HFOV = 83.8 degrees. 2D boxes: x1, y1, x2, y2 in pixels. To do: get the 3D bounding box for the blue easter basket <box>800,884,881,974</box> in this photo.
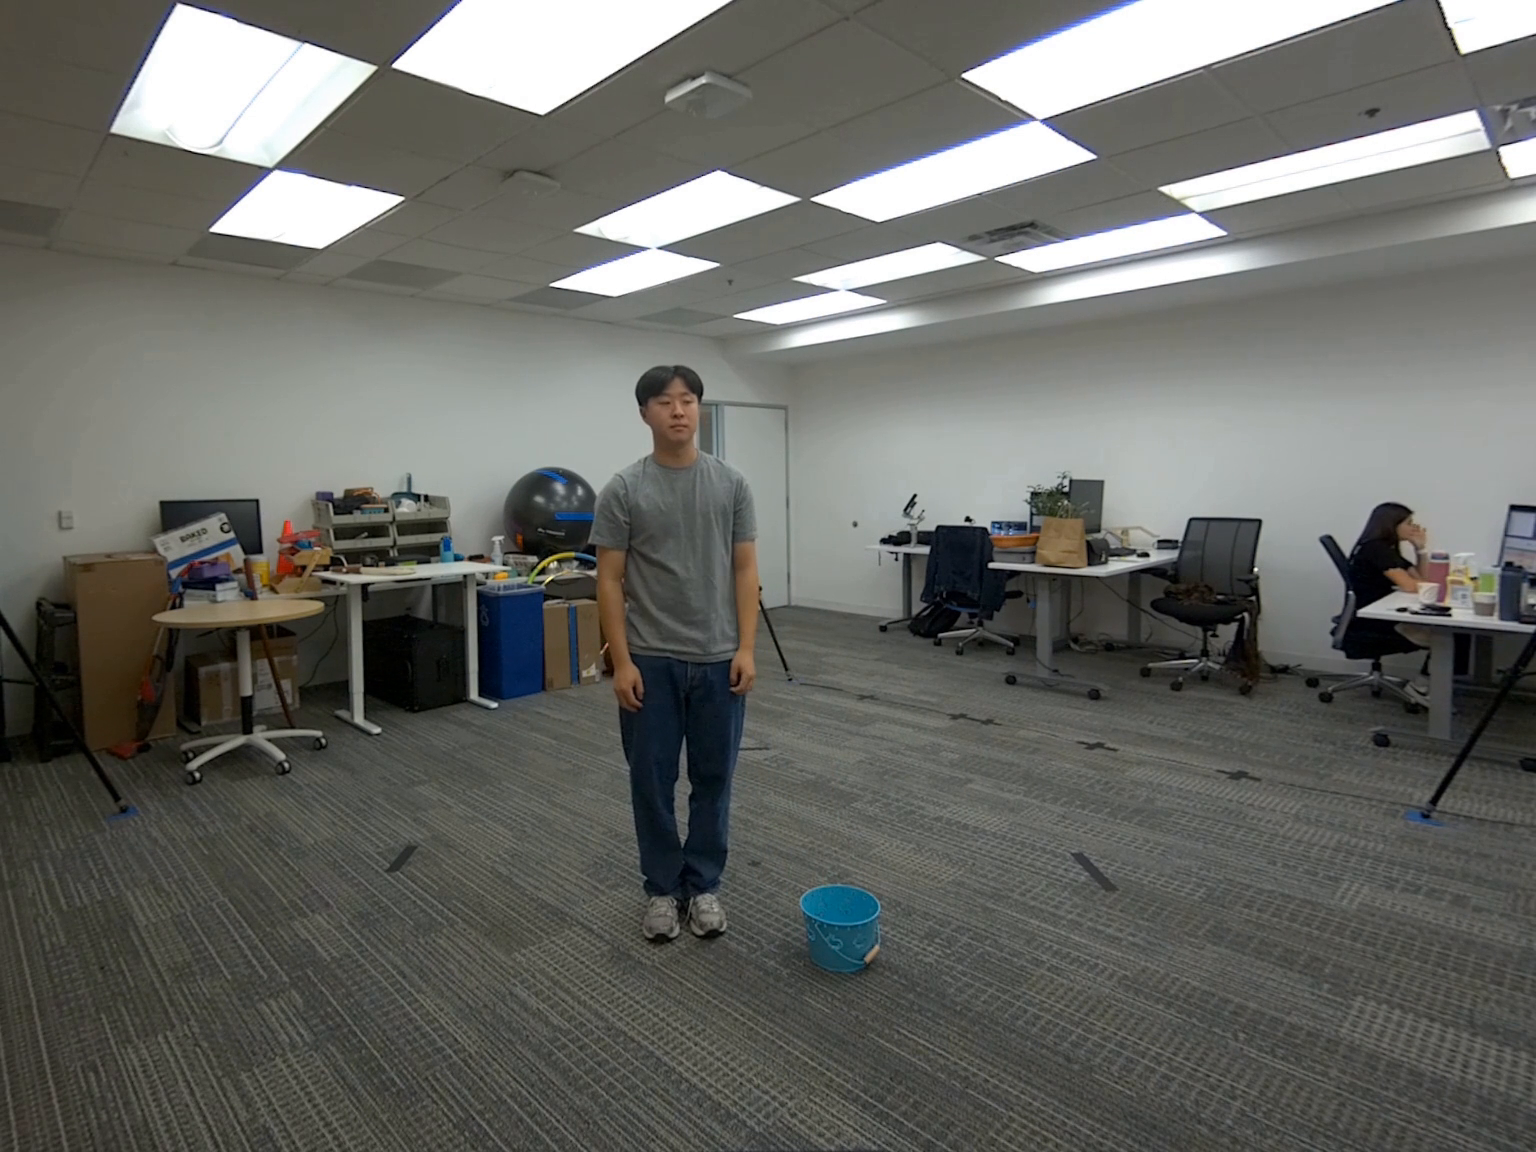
[{"bbox_3d":[0.219,1.036,2.494,0.243,0.155,0.245,-1,5,-2],"label":"blue easter basket"}]
